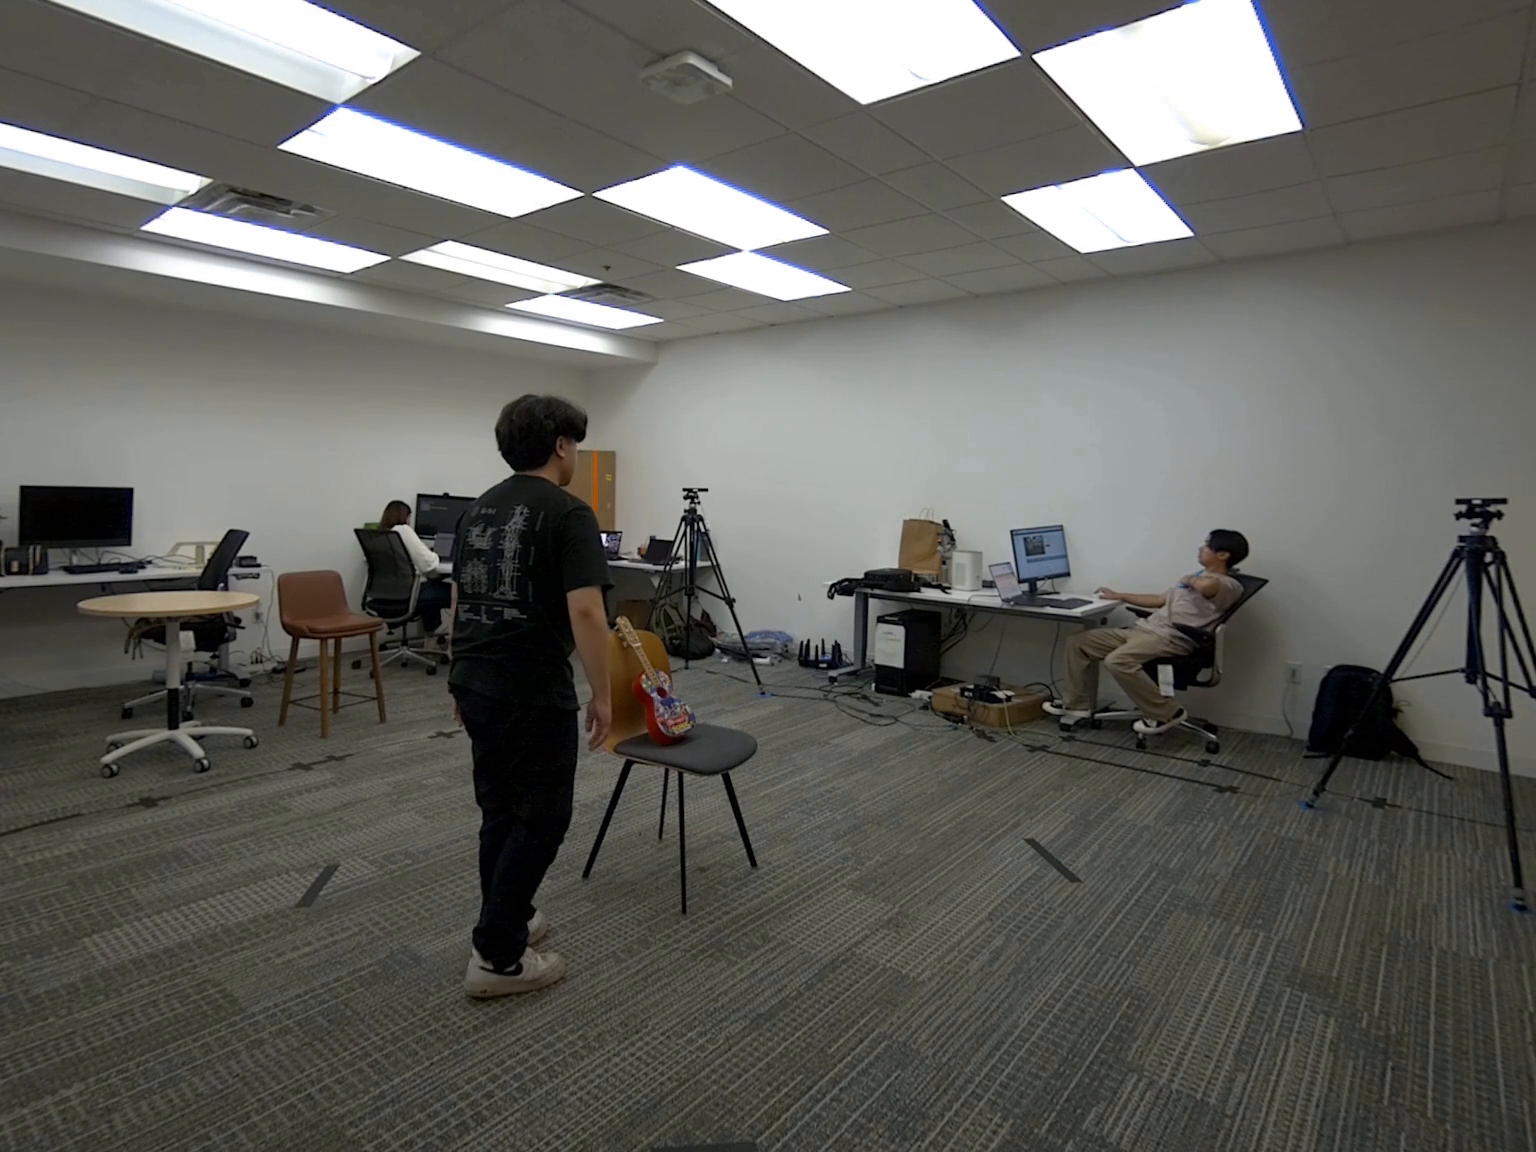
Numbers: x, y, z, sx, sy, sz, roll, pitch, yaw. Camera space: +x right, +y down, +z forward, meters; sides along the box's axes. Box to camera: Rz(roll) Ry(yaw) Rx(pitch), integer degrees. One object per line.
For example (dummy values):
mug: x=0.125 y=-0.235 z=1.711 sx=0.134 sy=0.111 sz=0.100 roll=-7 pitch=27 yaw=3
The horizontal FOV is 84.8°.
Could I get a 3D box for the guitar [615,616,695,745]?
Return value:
guitar: x=-0.434 y=0.373 z=3.163 sx=0.187 sy=0.512 sz=0.071 roll=2 pitch=-36 yaw=-49
